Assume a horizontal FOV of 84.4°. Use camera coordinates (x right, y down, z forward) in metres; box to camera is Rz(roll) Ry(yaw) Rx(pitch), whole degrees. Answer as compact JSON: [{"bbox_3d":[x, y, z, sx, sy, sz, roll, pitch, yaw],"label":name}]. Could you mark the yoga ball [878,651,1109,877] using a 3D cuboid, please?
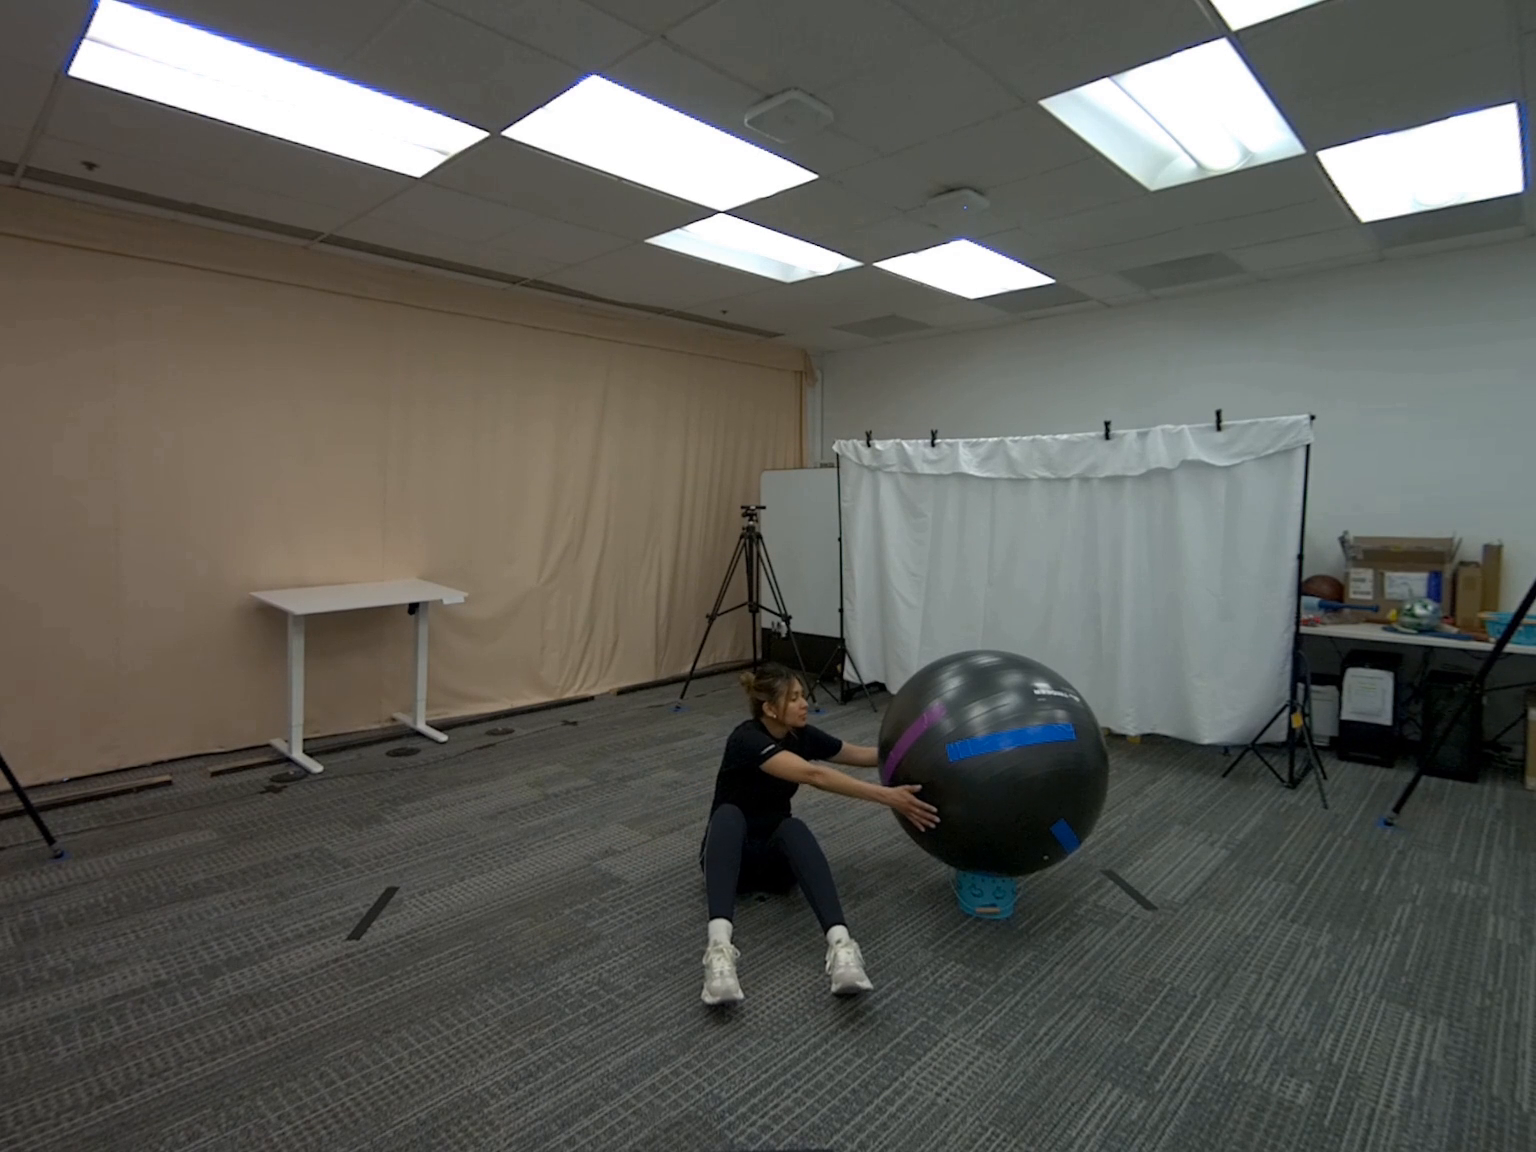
[{"bbox_3d":[0.766,0.642,2.910,0.757,0.756,0.760,0,4,-2],"label":"yoga ball"}]
